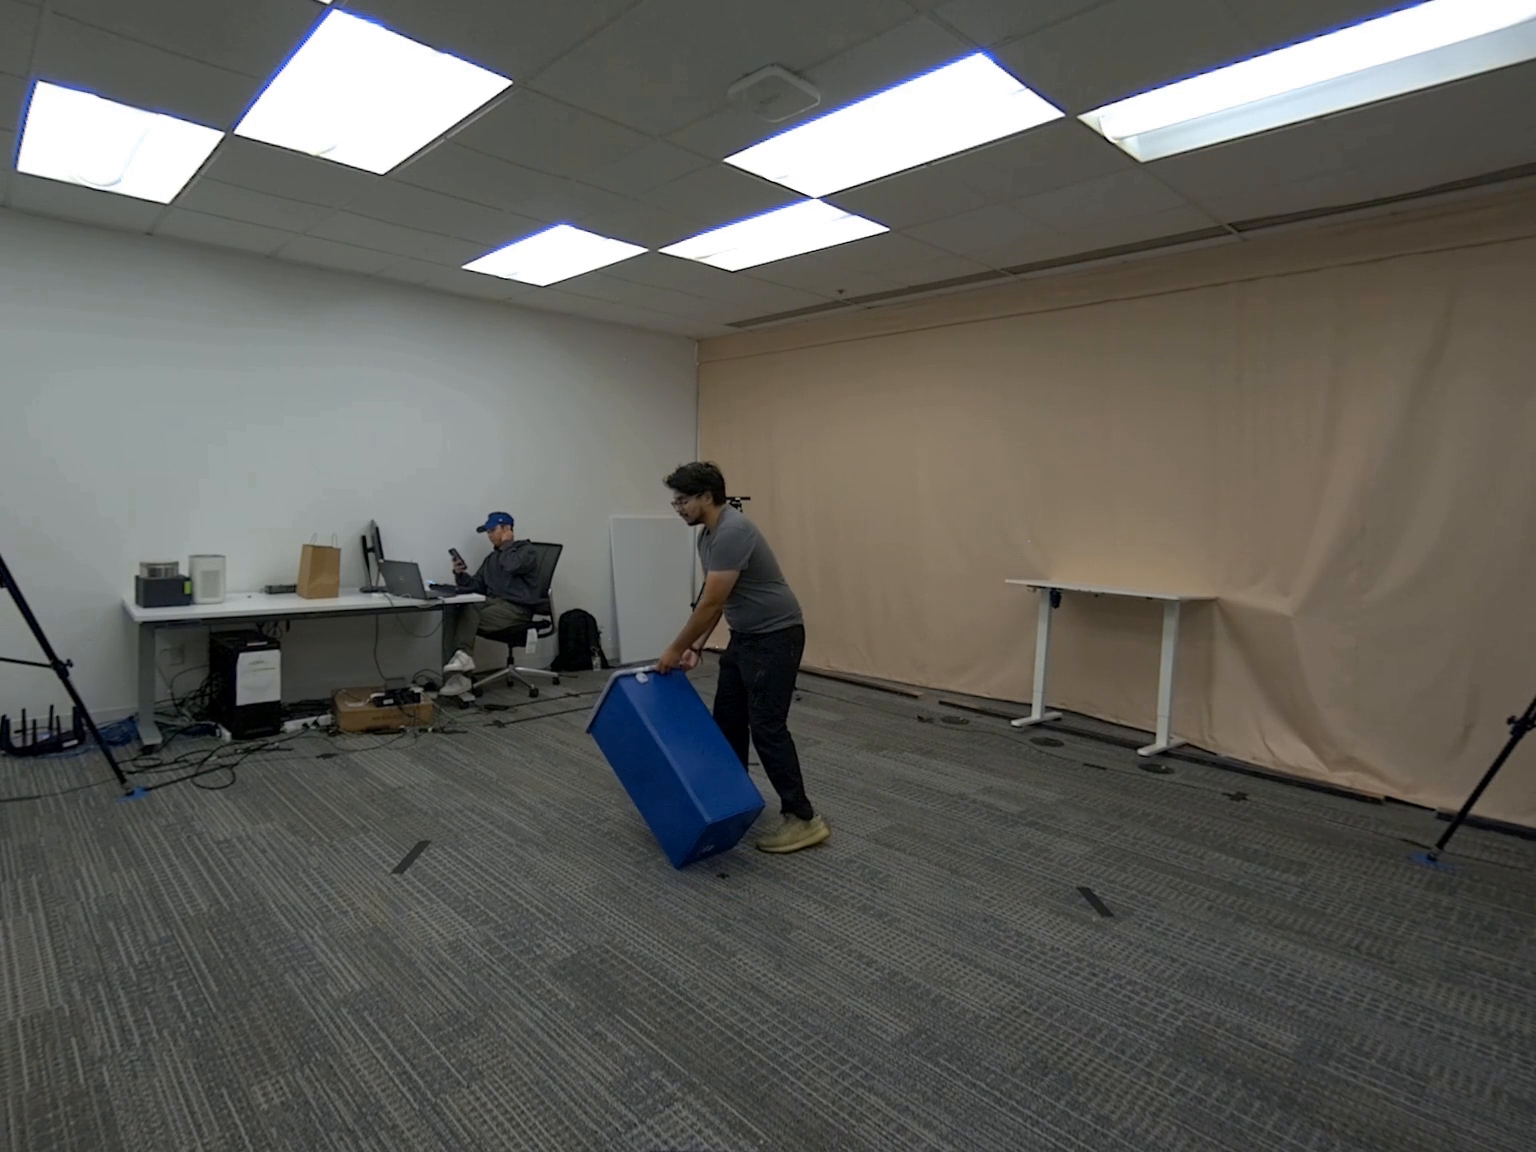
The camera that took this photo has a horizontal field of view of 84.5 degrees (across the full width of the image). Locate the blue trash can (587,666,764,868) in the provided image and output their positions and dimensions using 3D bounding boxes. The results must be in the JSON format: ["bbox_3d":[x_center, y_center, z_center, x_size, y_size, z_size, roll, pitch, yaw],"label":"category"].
[{"bbox_3d":[-0.384,0.743,3.350,0.365,0.376,0.735,-2,42,-44],"label":"blue trash can"}]
